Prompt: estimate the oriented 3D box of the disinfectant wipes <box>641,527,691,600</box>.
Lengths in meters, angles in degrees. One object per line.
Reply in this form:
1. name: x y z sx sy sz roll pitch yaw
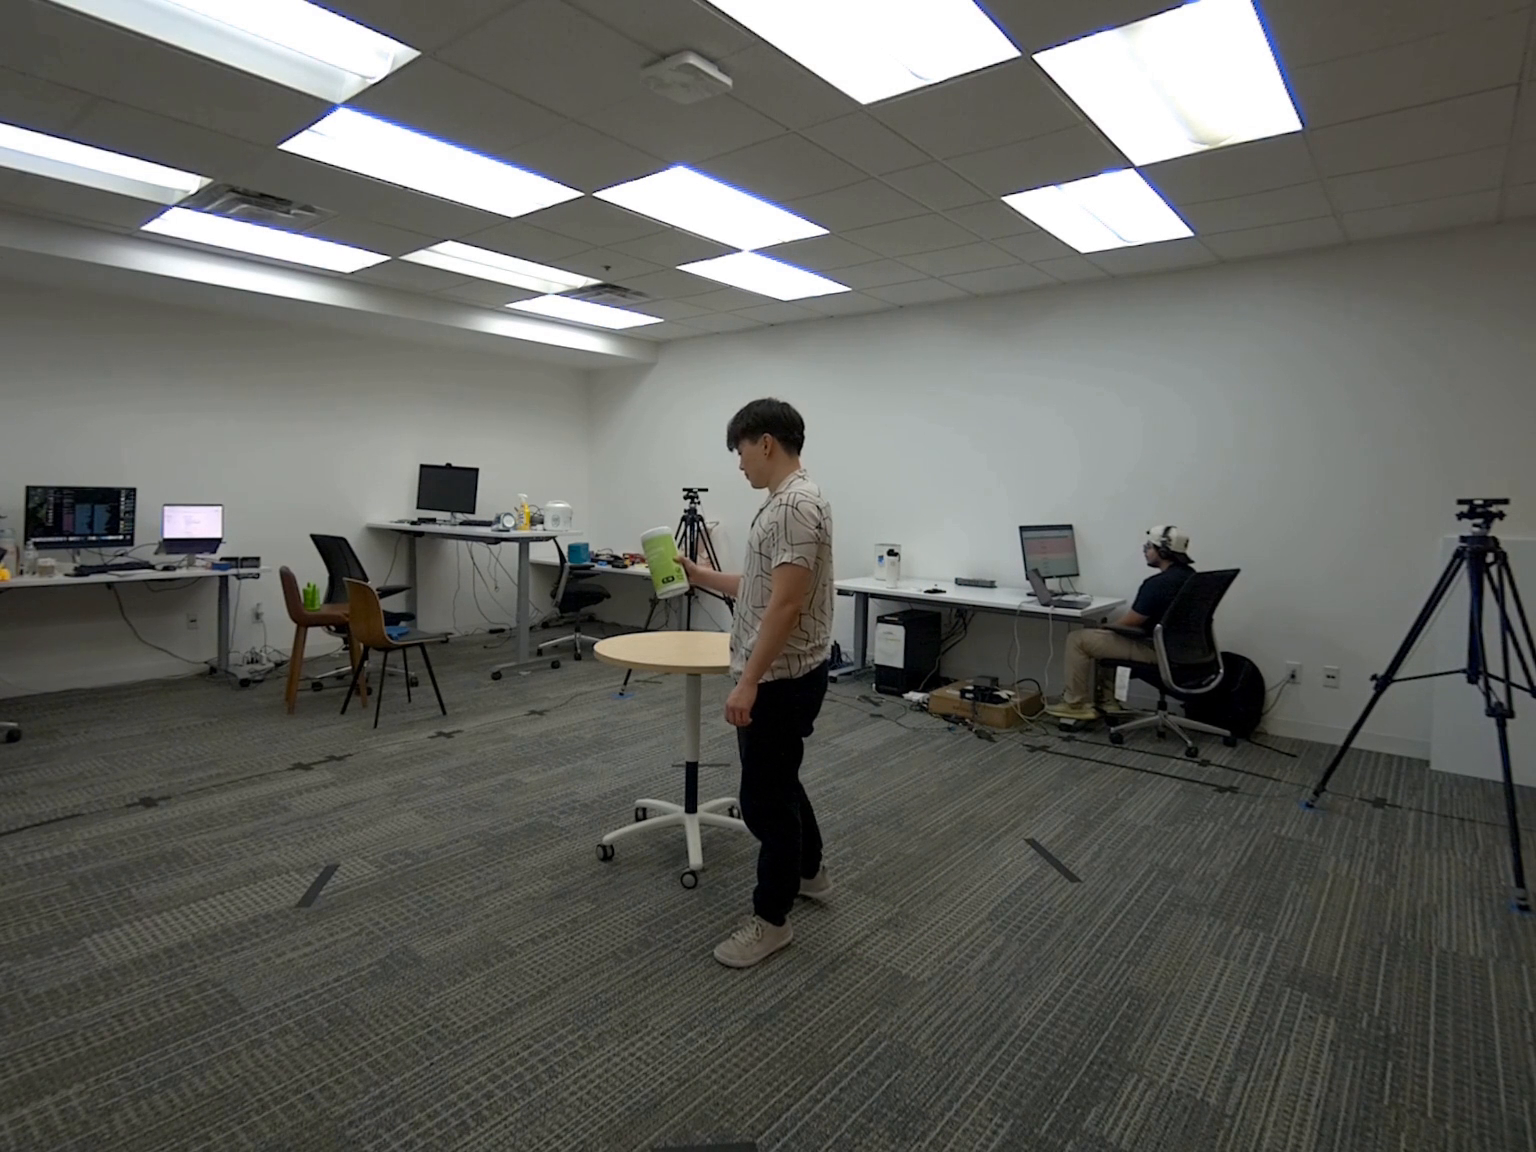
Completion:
1. disinfectant wipes: -0.343 -0.043 2.777 0.117 0.221 0.116 -18 -13 -6
